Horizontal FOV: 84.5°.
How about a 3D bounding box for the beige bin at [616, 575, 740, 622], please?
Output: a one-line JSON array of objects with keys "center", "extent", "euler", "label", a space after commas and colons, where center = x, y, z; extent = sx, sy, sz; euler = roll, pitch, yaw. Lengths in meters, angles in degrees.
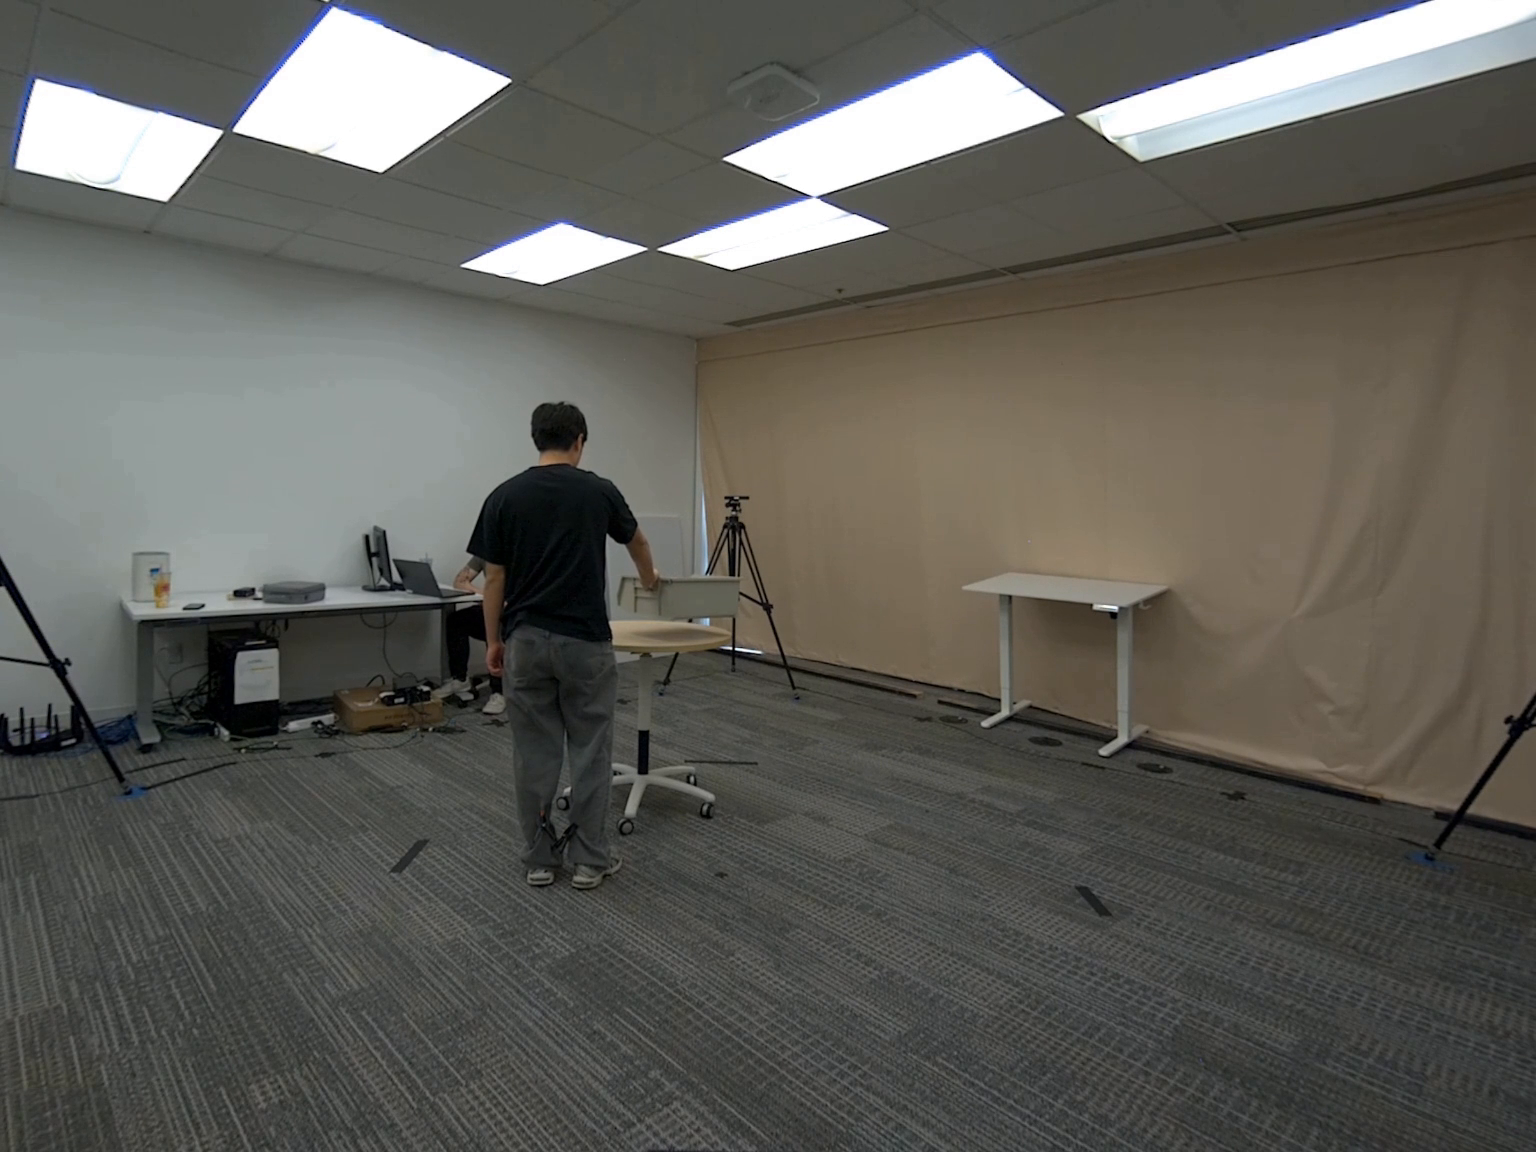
[{"center": [-0.399, 0.088, 3.717], "extent": [0.412, 0.189, 0.387], "euler": [0, 3, -44], "label": "beige bin"}]
